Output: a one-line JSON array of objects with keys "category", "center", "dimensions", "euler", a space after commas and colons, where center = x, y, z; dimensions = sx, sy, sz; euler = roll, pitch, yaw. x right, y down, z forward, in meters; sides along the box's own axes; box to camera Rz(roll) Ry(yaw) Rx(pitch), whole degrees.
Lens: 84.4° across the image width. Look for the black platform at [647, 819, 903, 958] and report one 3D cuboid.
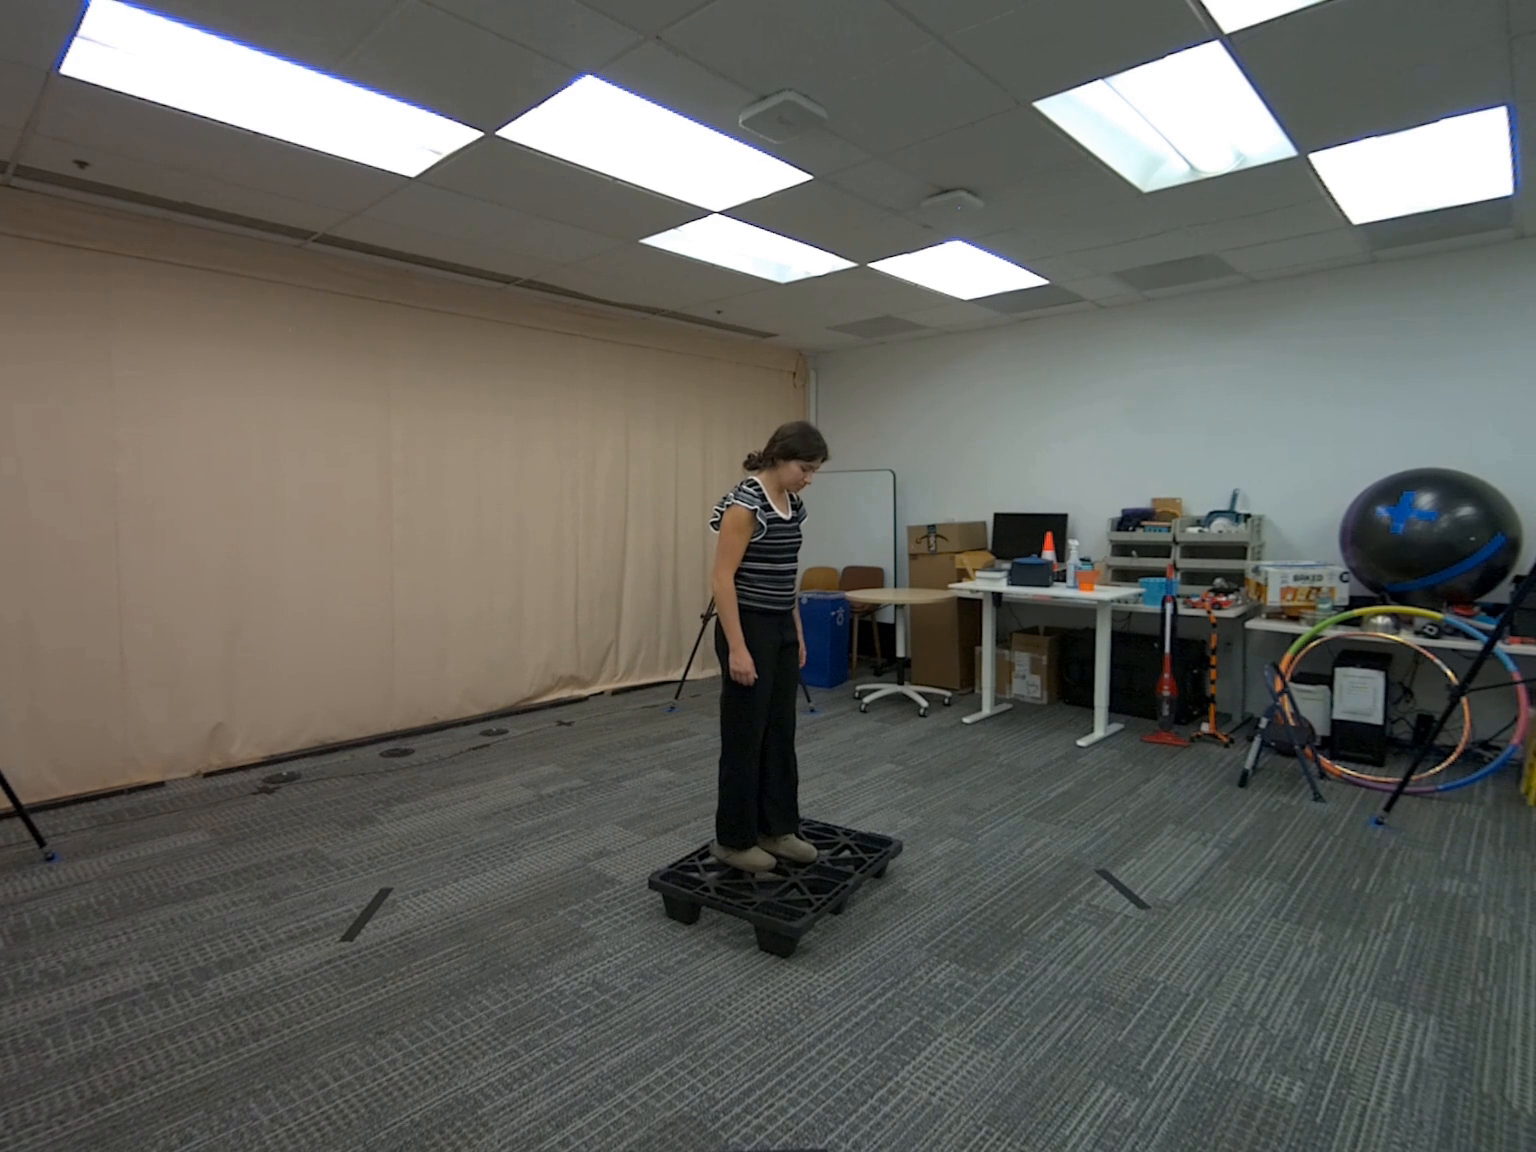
[{"category": "black platform", "center": [0.055, 1.072, 3.011], "dimensions": [0.624, 0.143, 0.783], "euler": [4, 6, 33]}]
